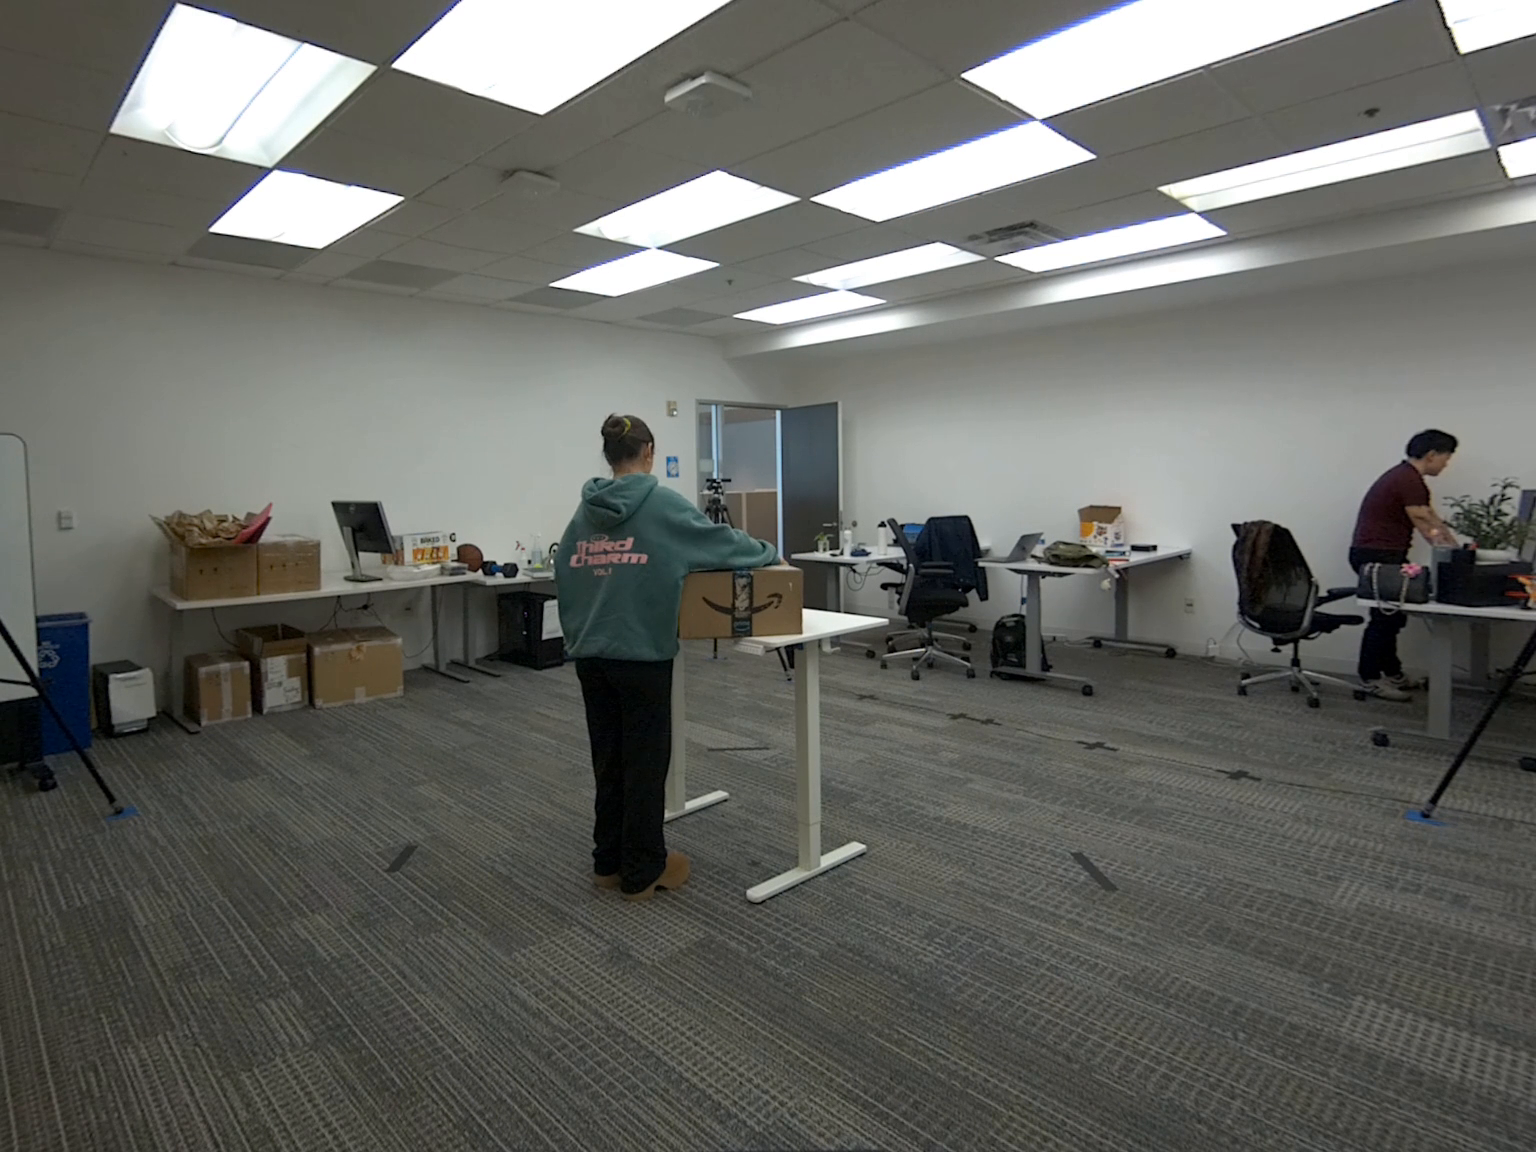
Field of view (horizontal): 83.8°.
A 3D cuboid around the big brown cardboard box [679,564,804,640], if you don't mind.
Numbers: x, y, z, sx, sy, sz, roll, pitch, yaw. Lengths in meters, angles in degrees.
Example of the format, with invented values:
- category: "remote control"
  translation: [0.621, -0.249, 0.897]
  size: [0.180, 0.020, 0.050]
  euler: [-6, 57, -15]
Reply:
- category: "big brown cardboard box"
  translation: [-0.155, 0.061, 3.026]
  size: [0.412, 0.232, 0.598]
  euler: [-2, 5, -15]
